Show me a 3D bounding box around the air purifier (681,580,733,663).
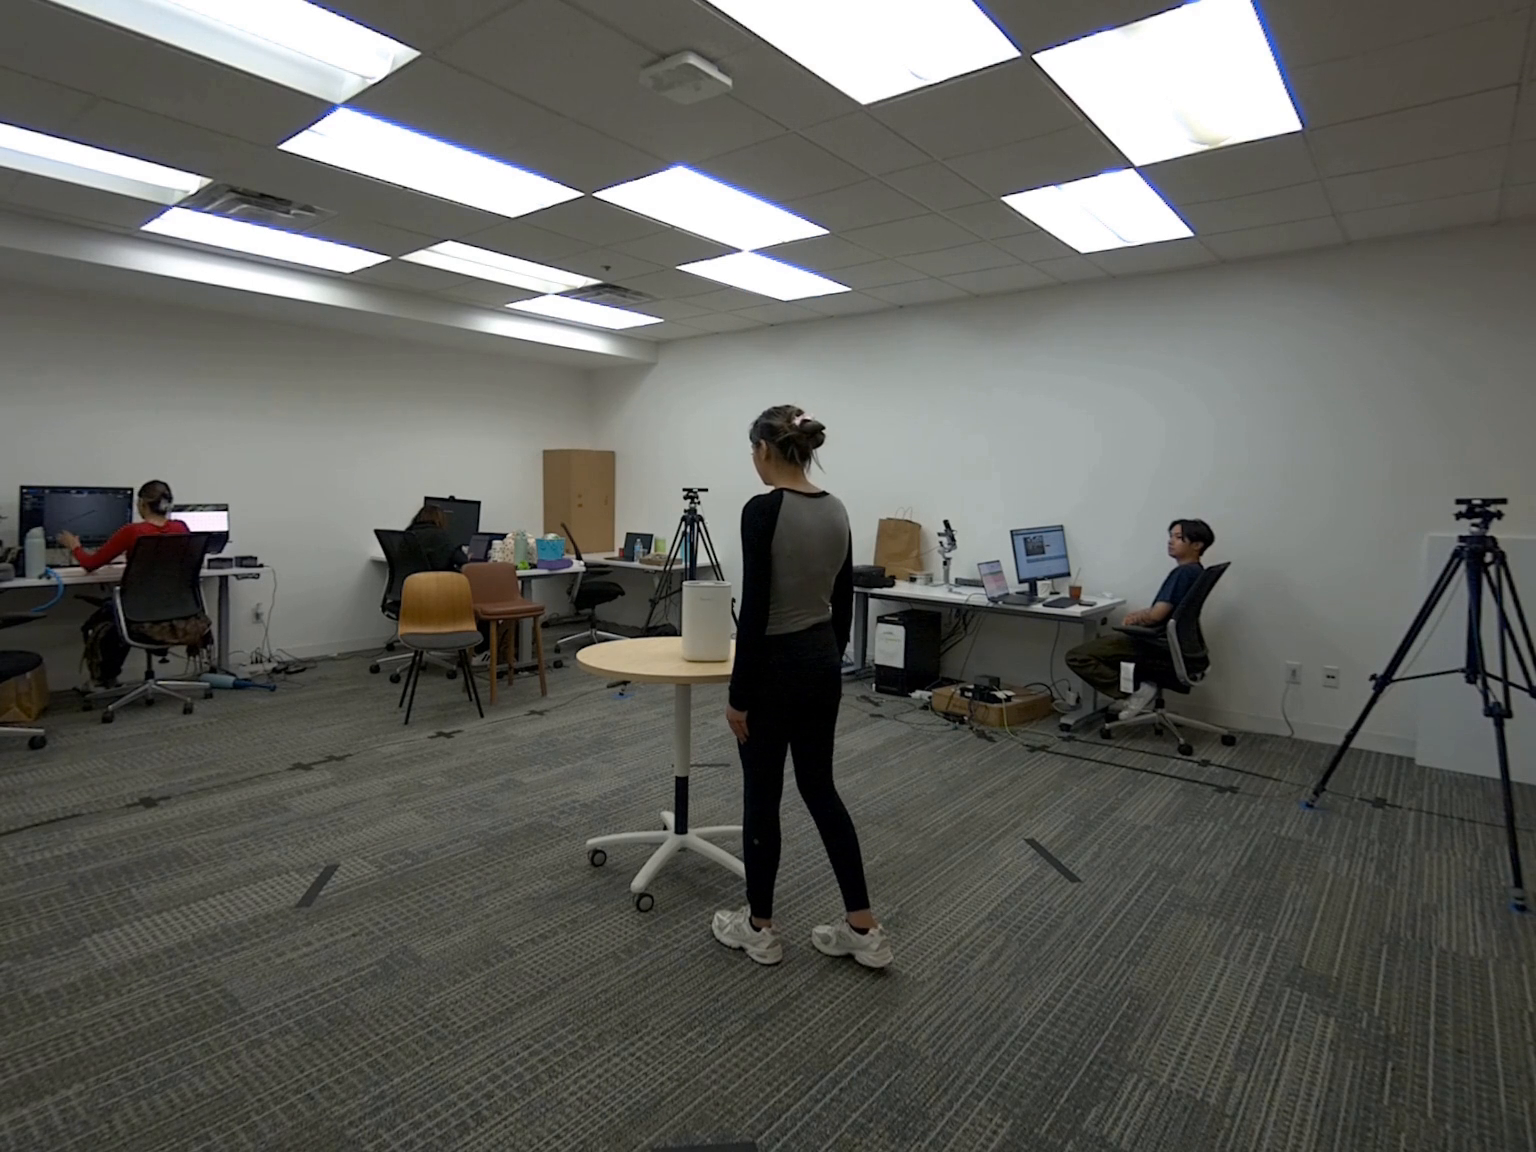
[{"bbox_3d":[-0.225,0.154,2.980,0.170,0.264,0.173,1,4,-4],"label":"air purifier"}]
